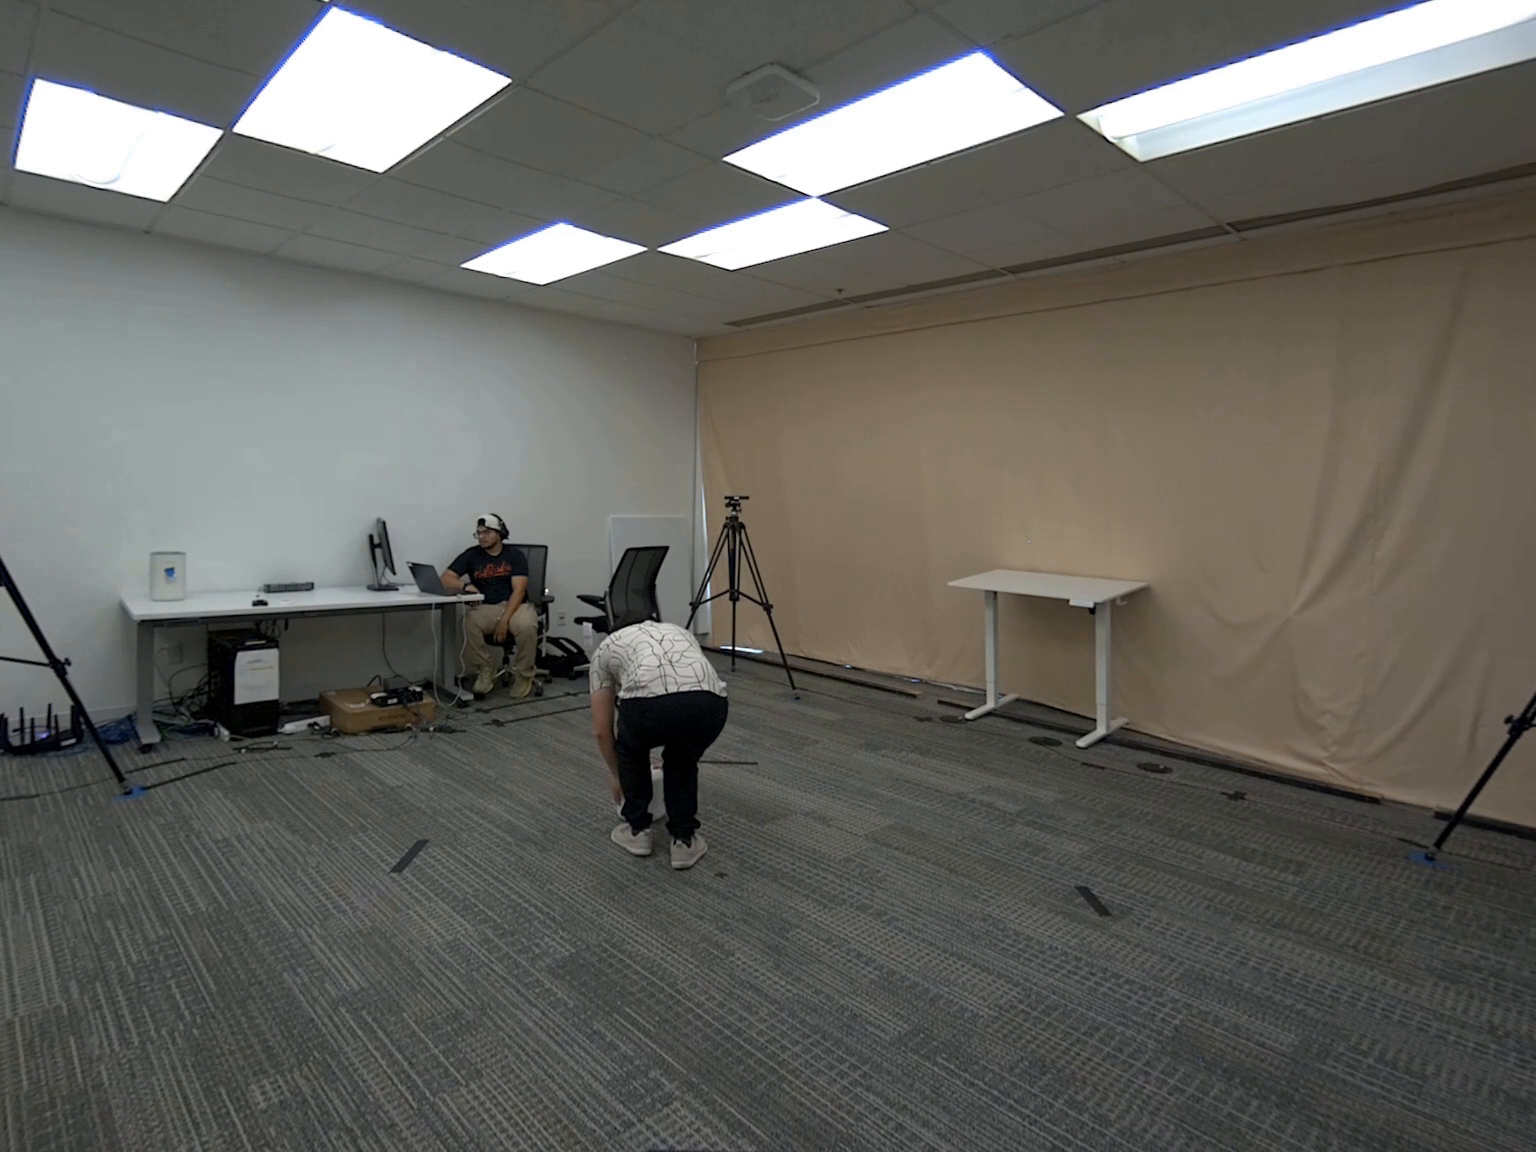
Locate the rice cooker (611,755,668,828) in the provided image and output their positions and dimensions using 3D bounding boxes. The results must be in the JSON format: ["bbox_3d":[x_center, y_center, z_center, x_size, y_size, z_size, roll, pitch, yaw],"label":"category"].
[{"bbox_3d":[-0.542,0.929,3.647,0.214,0.232,0.225,-1,5,-22],"label":"rice cooker"}]
